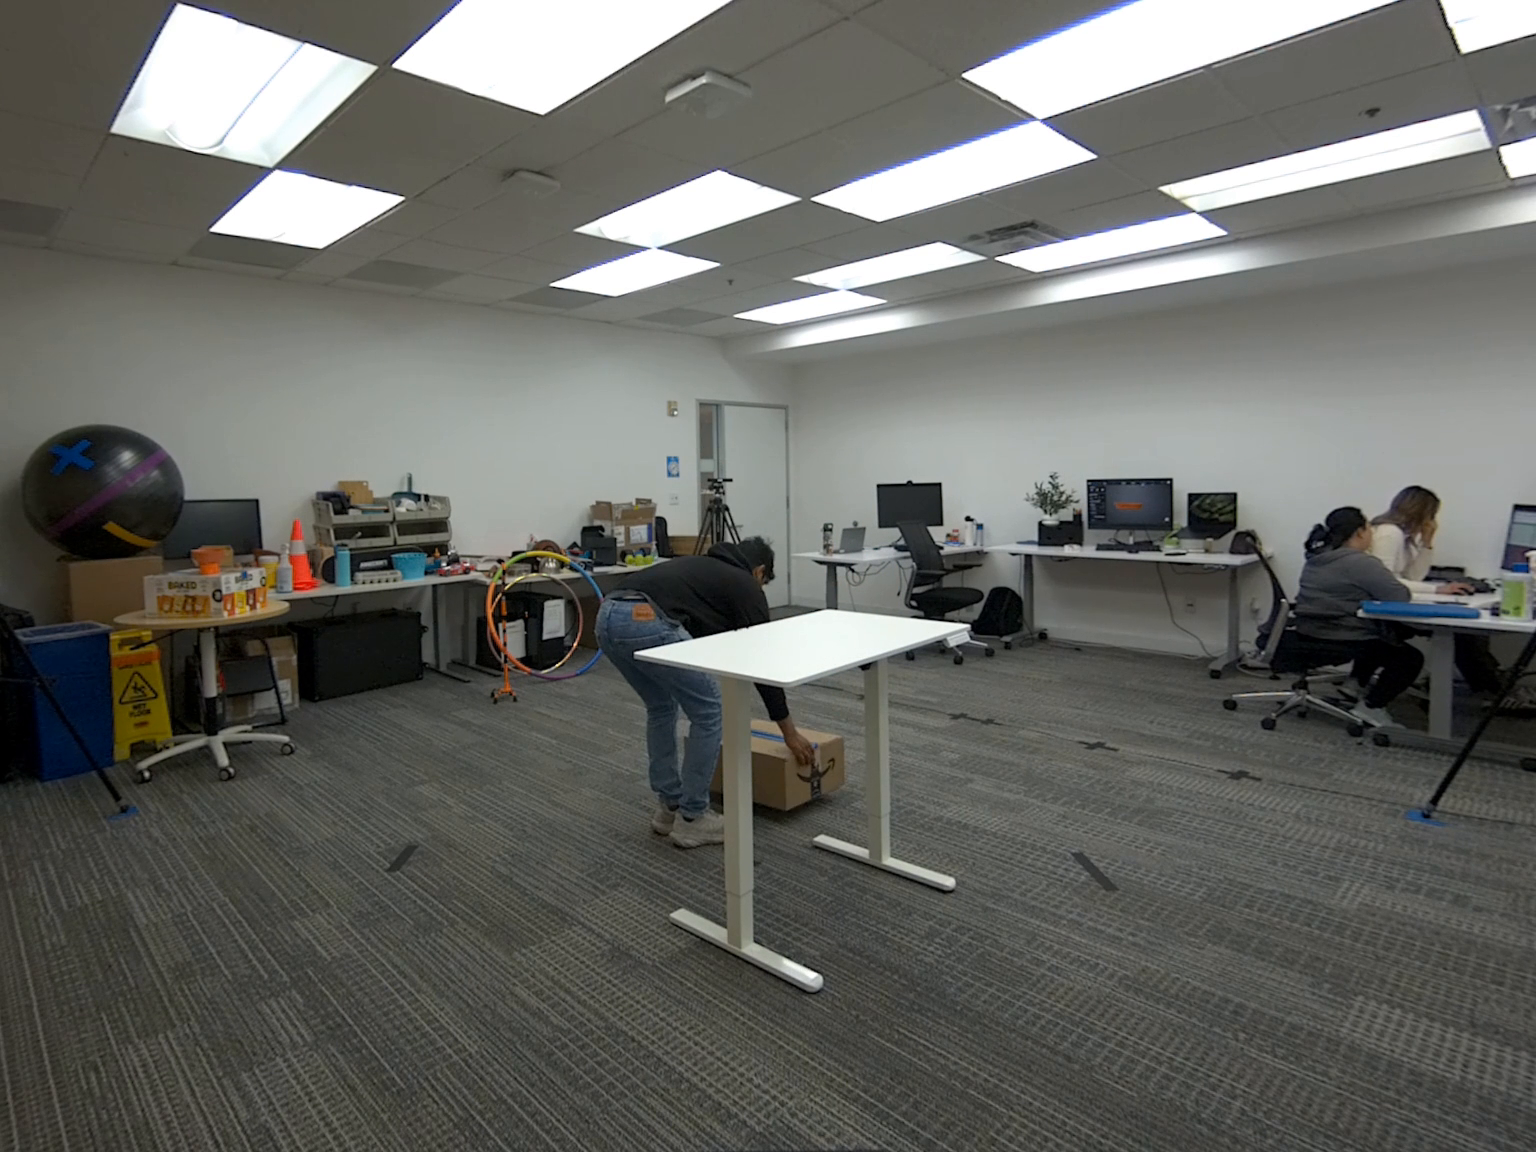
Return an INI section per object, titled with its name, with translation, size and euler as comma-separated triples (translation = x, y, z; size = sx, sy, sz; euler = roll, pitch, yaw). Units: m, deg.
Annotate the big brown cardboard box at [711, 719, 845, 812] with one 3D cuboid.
[big brown cardboard box]
translation = -0.017, 0.799, 3.746
size = 0.607, 0.232, 0.407
euler = 4, 6, 39
